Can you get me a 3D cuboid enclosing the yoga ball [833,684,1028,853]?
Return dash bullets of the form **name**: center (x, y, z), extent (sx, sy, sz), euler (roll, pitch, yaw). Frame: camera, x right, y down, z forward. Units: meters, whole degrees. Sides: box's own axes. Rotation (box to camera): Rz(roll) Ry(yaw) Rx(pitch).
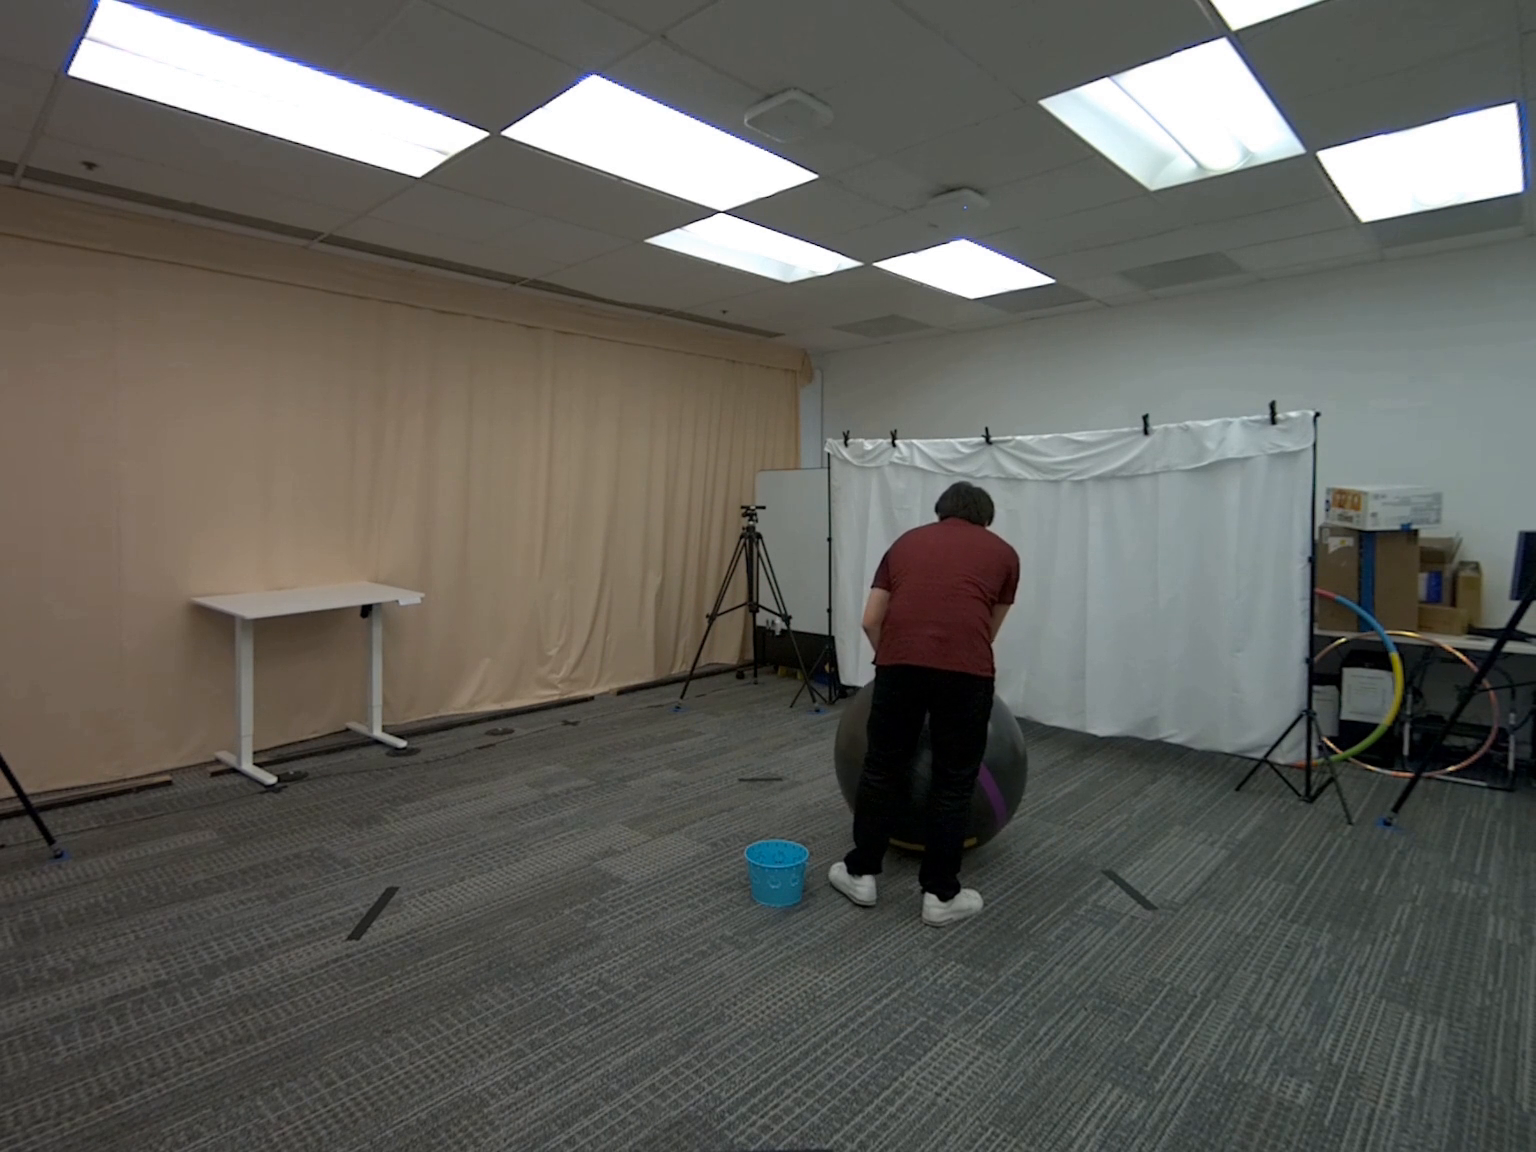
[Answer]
- **yoga ball**: center (0.656, 0.743, 3.435), extent (0.757, 0.756, 0.760), euler (0, 4, -2)
